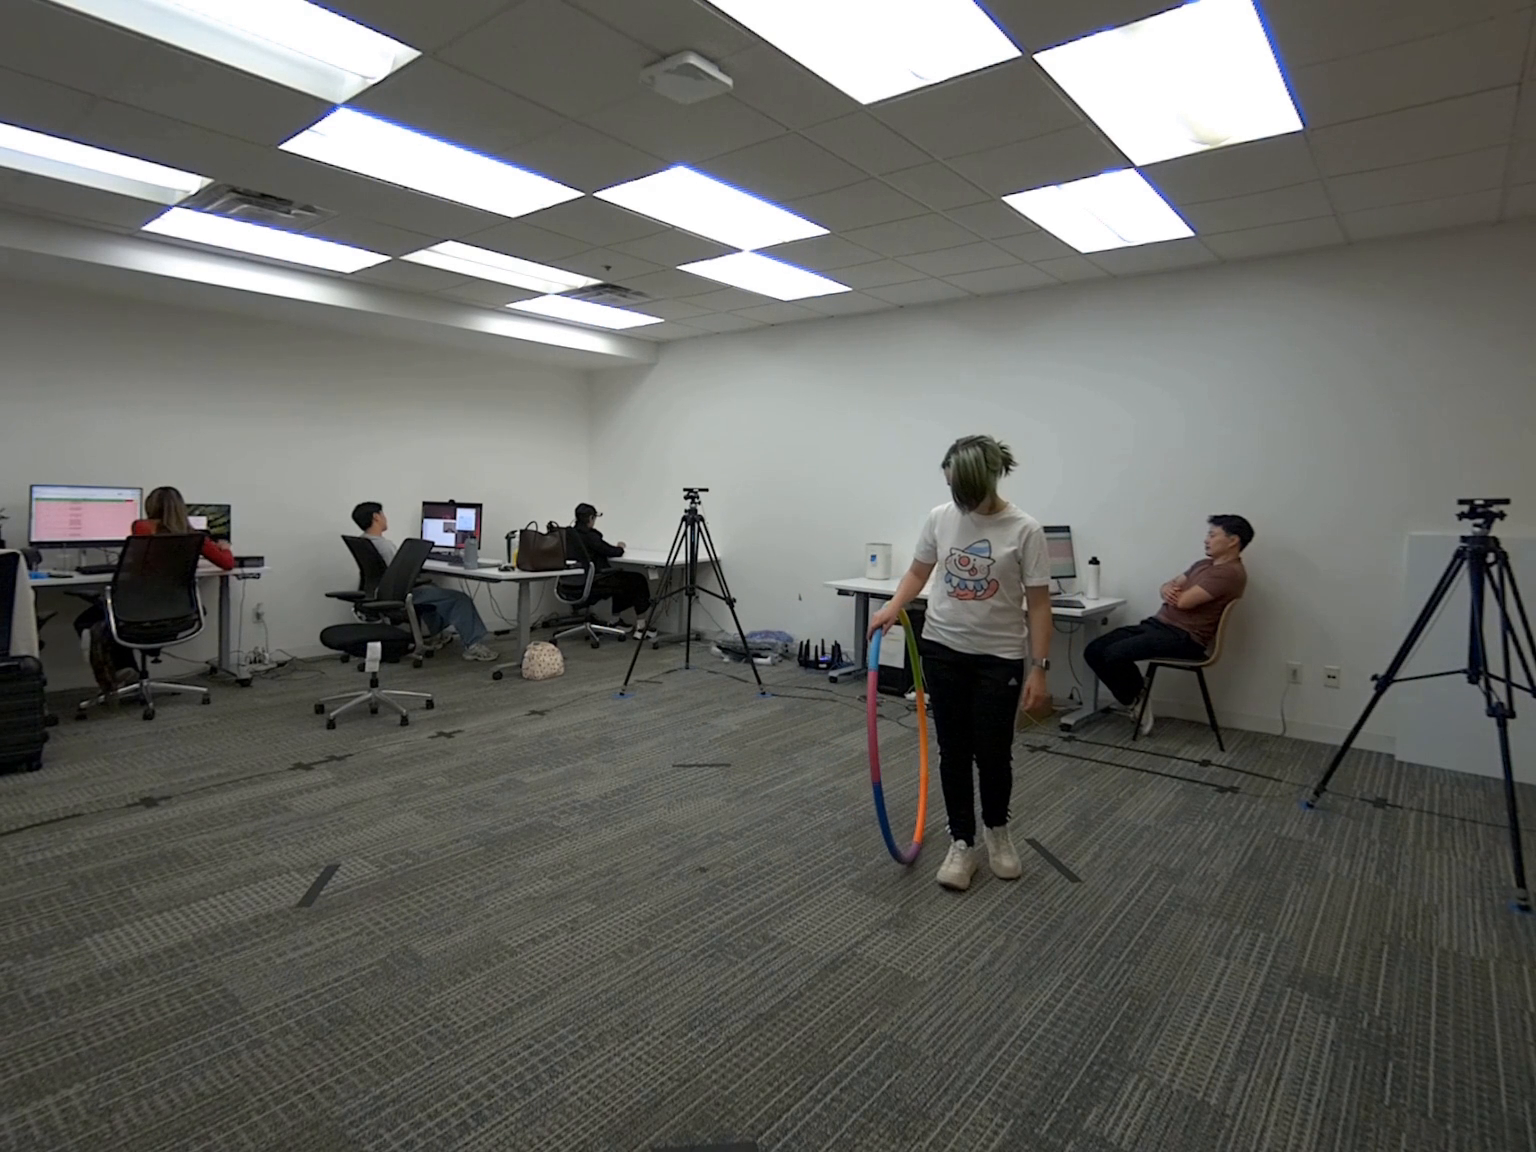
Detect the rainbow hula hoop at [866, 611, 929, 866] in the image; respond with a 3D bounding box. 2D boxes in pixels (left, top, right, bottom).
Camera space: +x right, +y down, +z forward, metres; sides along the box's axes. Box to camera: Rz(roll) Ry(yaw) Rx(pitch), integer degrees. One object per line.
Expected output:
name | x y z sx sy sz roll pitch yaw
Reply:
rainbow hula hoop | 0.499 0.586 3.271 0.036 0.979 0.961 -7 1 19
